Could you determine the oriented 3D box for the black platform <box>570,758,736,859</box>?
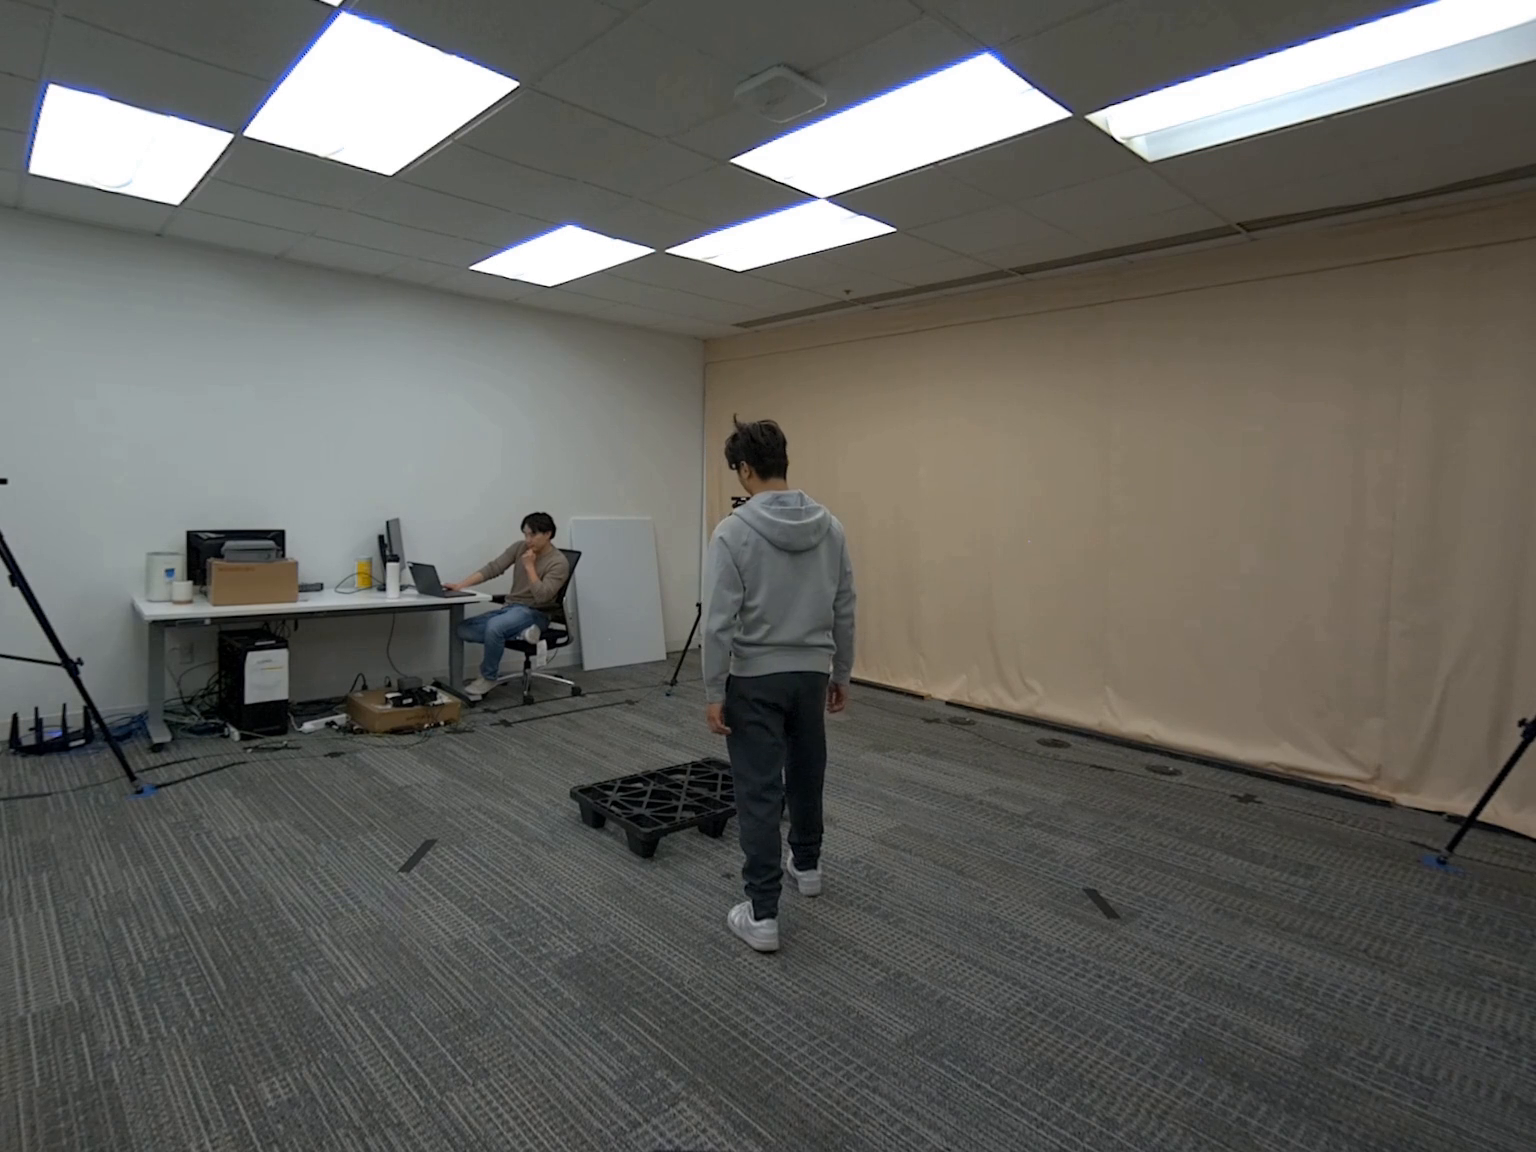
[{"bbox_3d":[-0.364,0.988,3.640,0.787,0.143,0.621,-3,7,-41],"label":"black platform"}]
